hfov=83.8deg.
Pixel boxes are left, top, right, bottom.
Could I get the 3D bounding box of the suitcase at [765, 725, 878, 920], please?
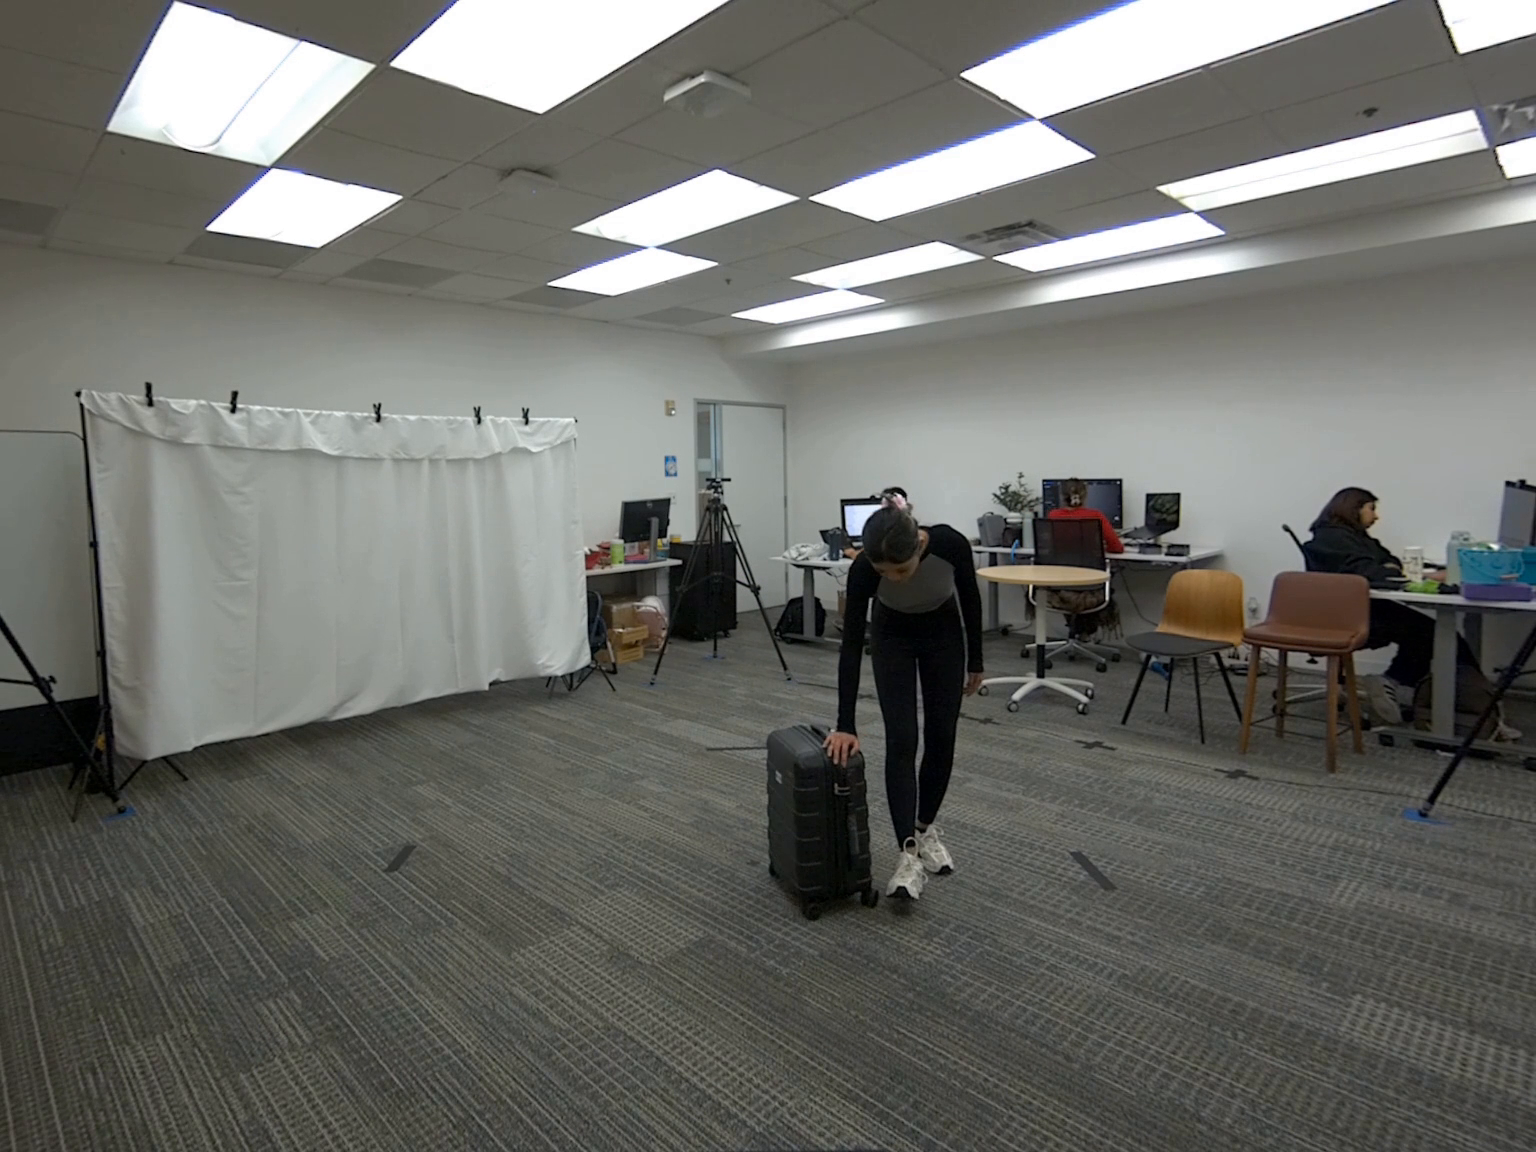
[{"bbox_3d":[0.166,0.790,2.853,0.245,0.546,0.383,-4,7,-17],"label":"suitcase"}]
